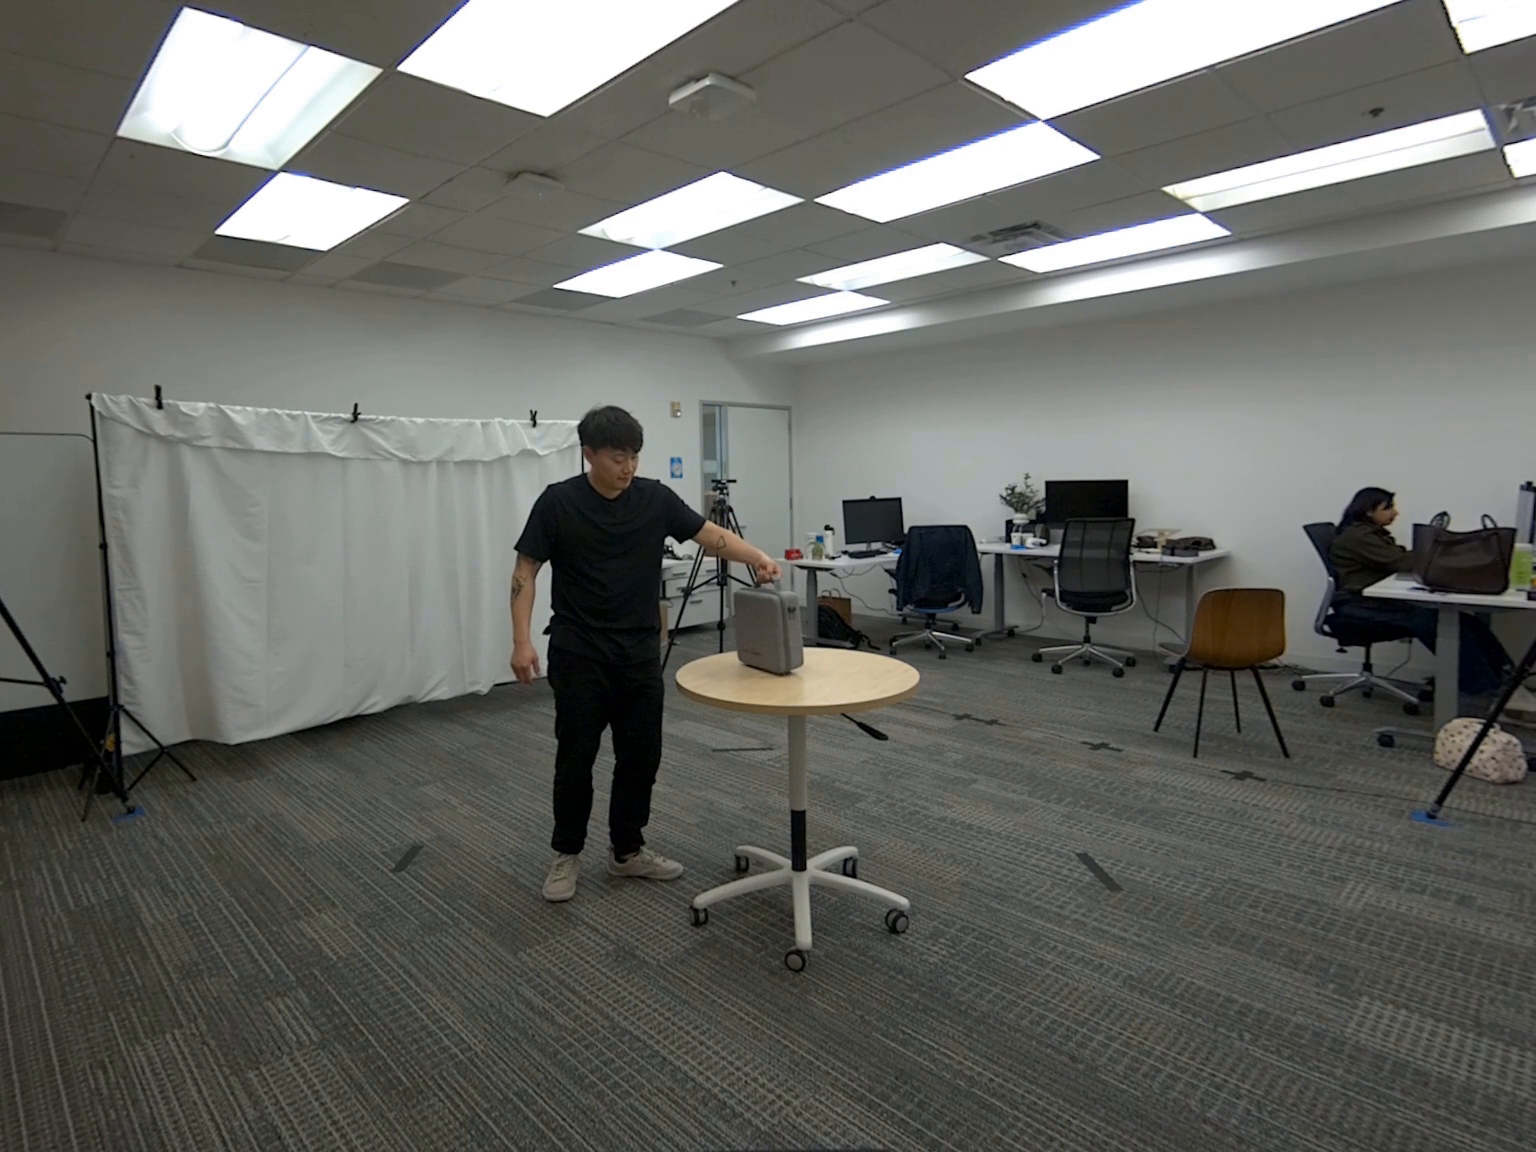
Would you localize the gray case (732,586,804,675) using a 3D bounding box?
[{"bbox_3d":[-0.004,0.162,2.764,0.102,0.259,0.264,-7,7,-32],"label":"gray case"}]
